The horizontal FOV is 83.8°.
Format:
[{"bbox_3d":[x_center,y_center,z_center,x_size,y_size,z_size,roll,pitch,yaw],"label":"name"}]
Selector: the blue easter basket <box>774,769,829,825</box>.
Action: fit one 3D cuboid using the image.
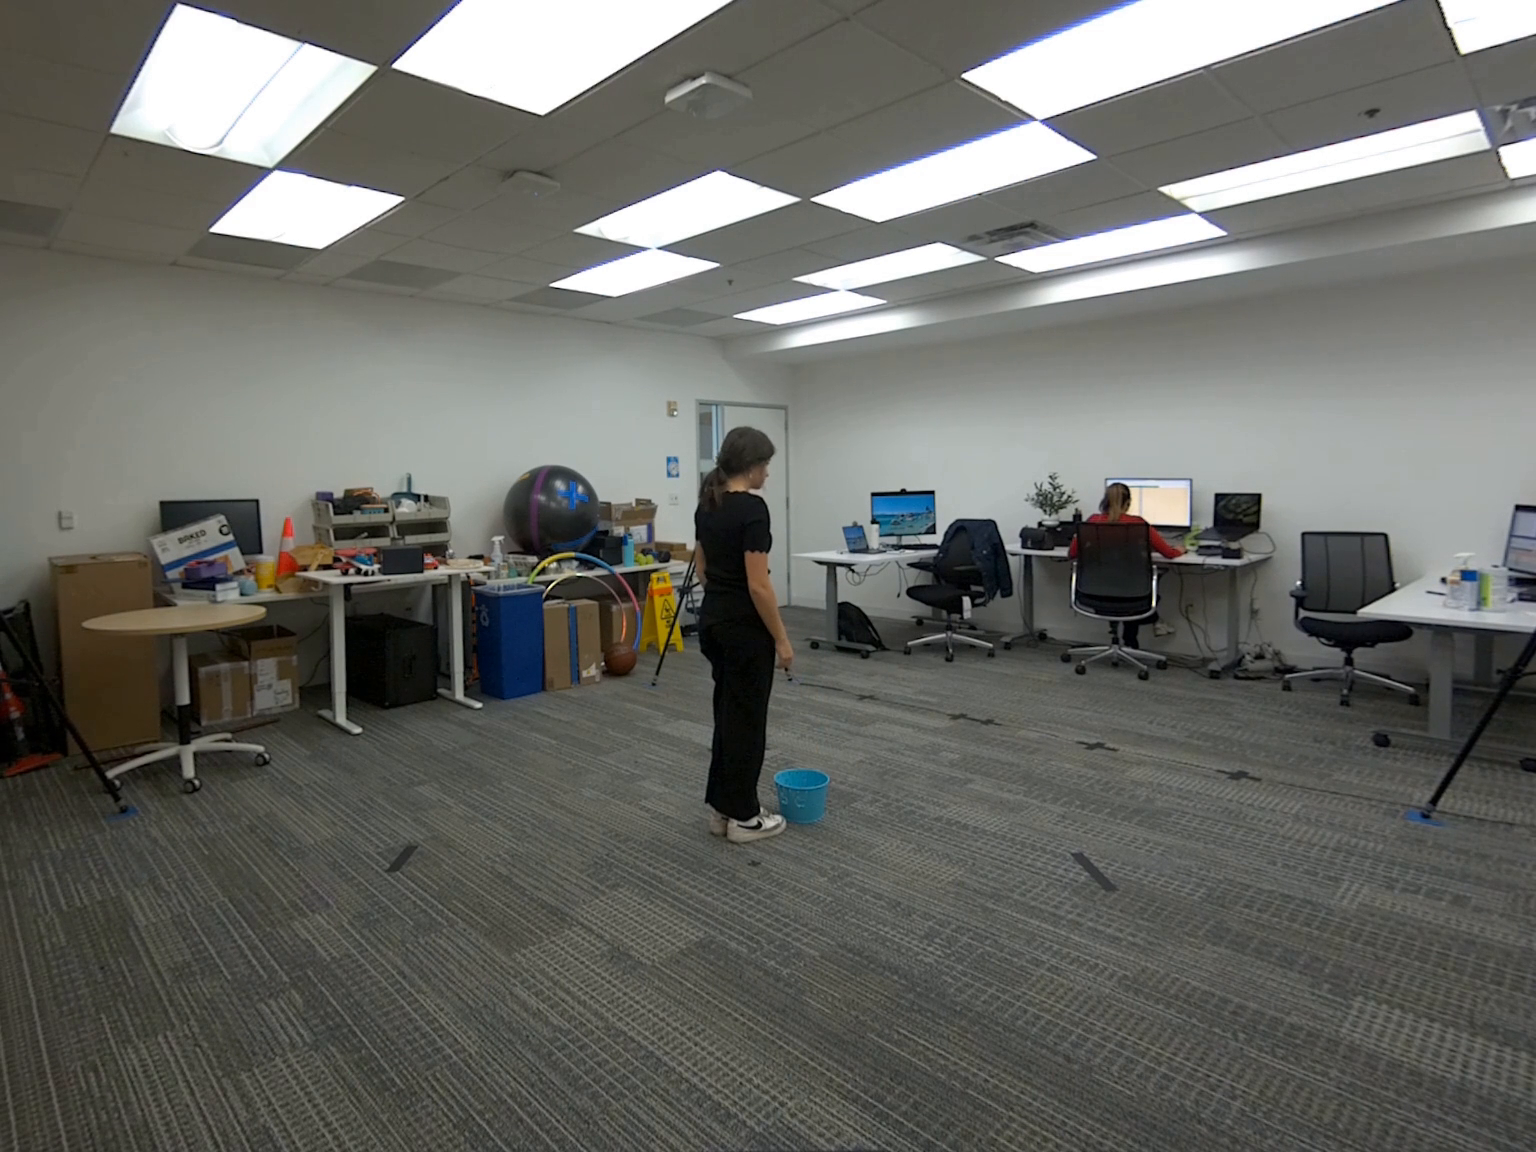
[{"bbox_3d":[0.145,0.913,3.554,0.243,0.155,0.245,-2,6,-2],"label":"blue easter basket"}]
